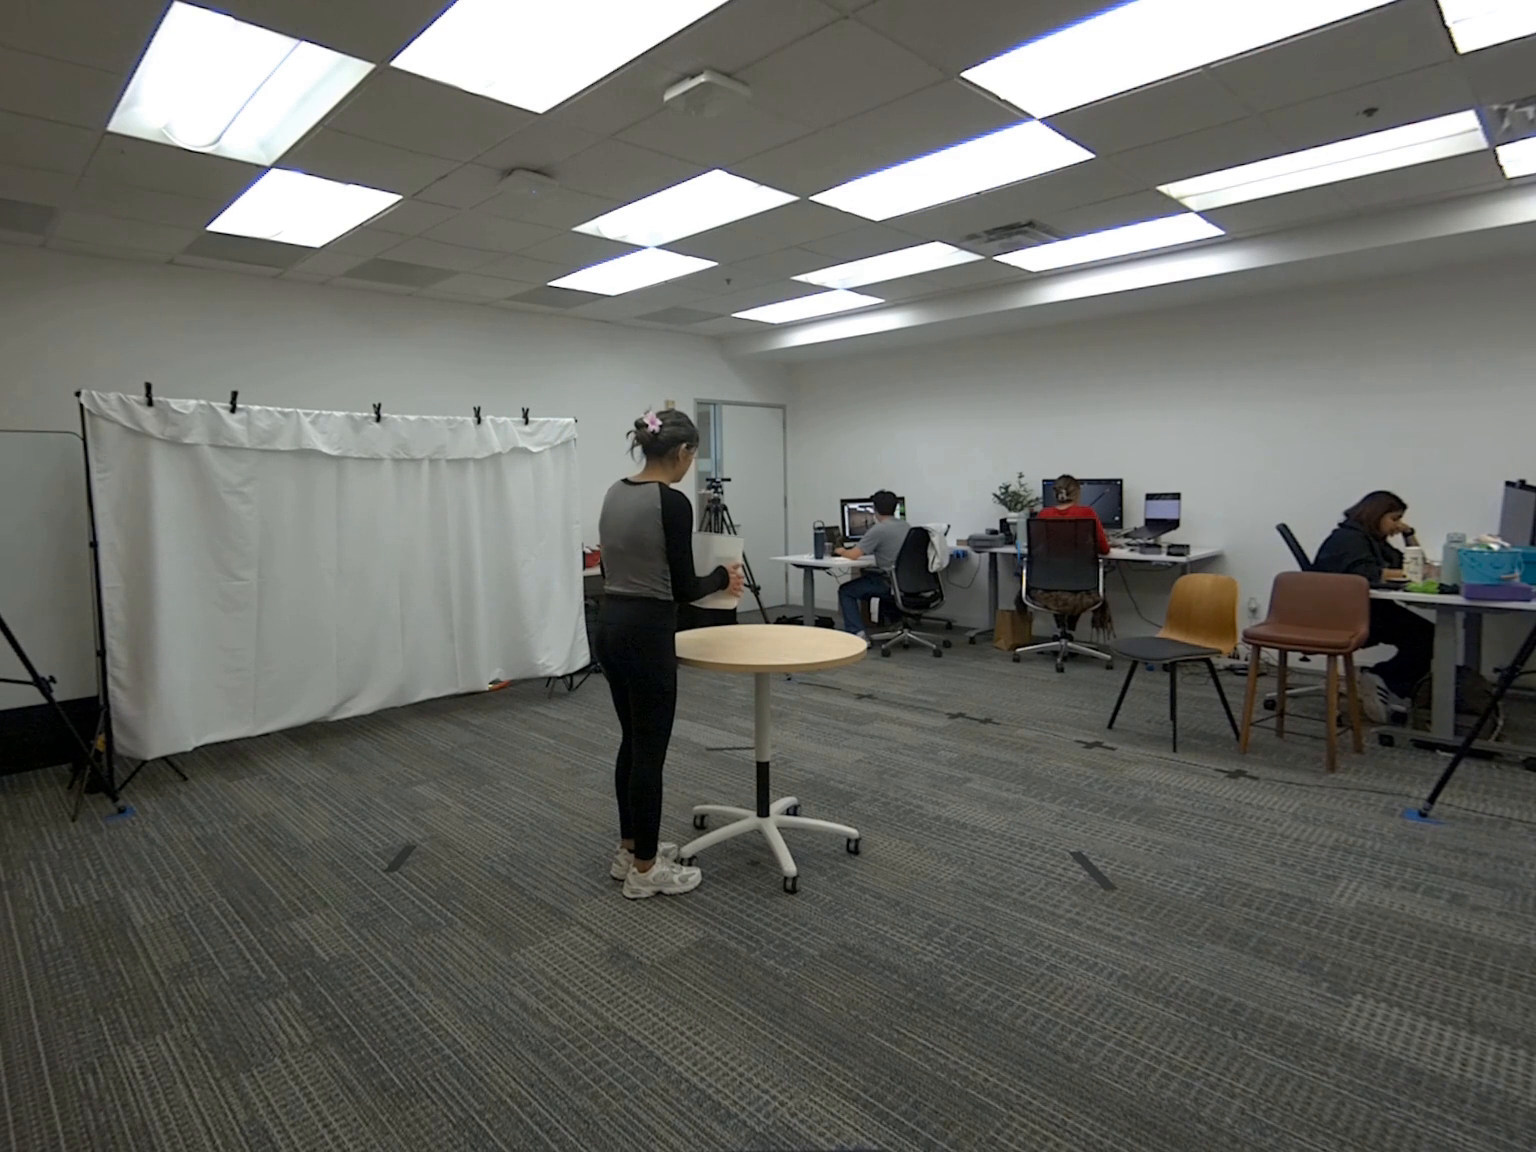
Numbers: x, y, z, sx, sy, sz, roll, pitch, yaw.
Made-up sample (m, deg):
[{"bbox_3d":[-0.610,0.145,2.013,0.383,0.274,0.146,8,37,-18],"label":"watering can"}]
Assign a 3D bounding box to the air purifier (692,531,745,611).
[{"bbox_3d":[-0.195,-0.018,3.106,0.167,0.265,0.176,5,0,-32],"label":"air purifier"}]
